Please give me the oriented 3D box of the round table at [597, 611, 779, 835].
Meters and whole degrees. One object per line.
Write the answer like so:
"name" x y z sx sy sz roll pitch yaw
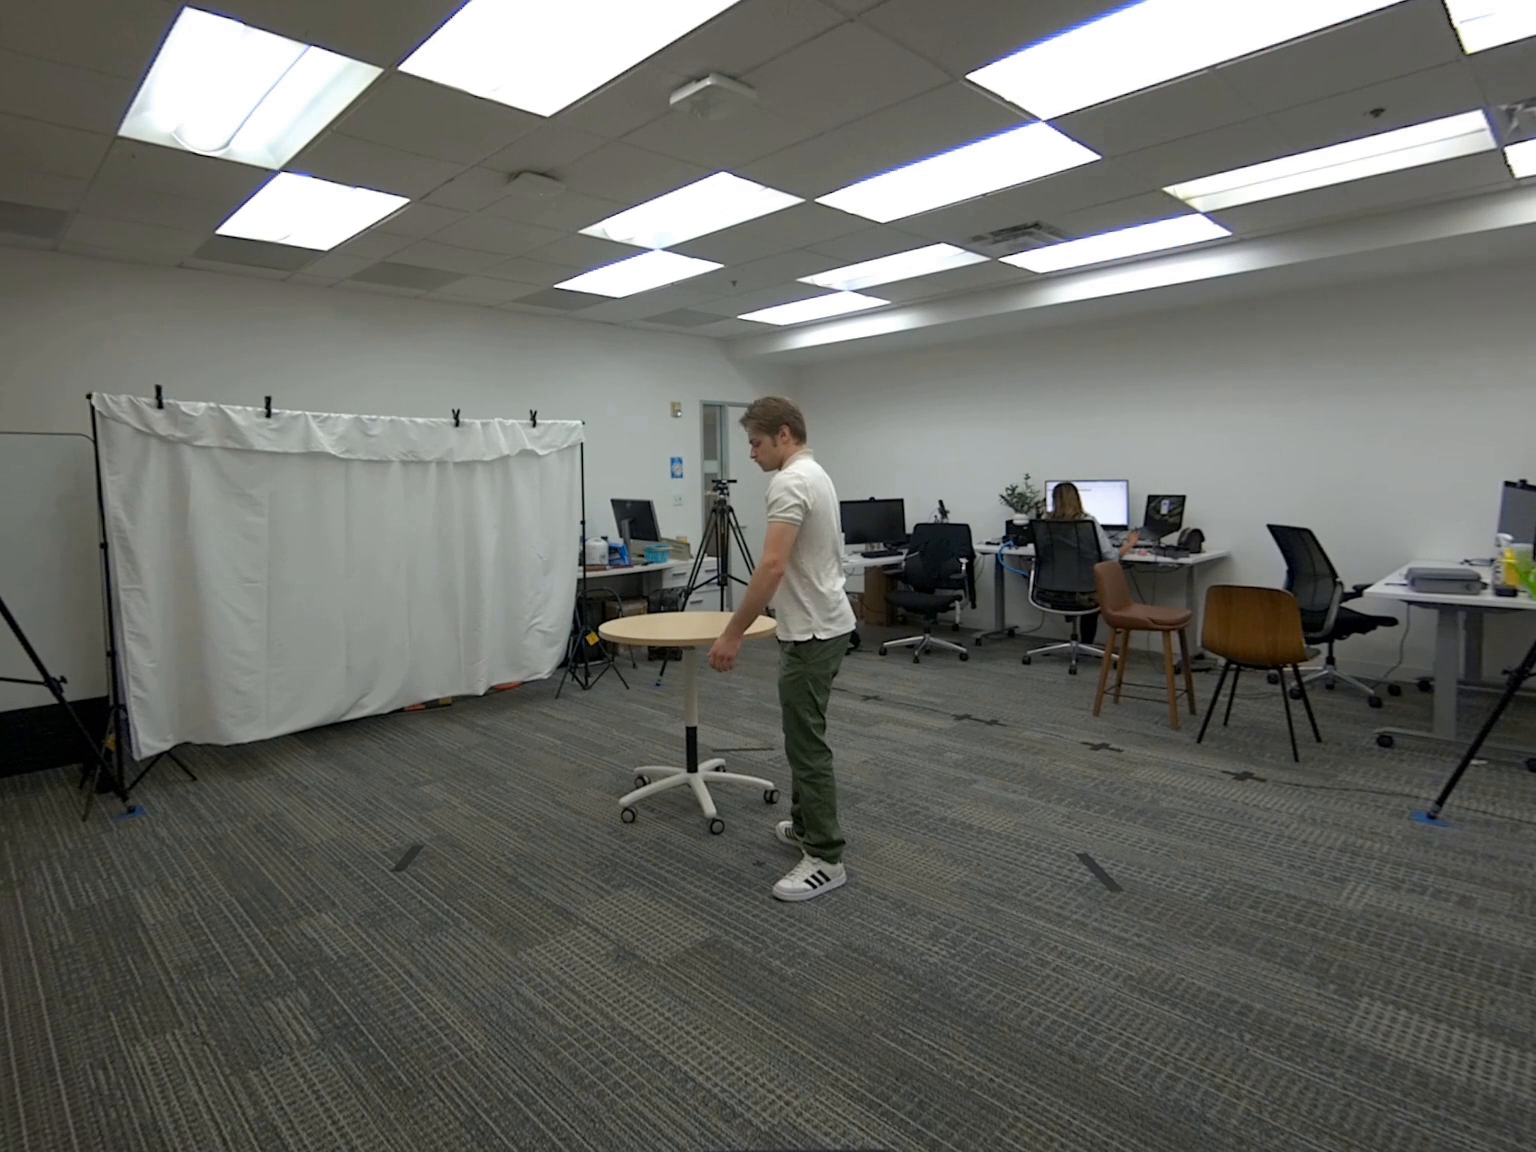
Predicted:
"round table" -0.336 0.602 3.690 0.763 0.791 0.767 -2 4 -2
